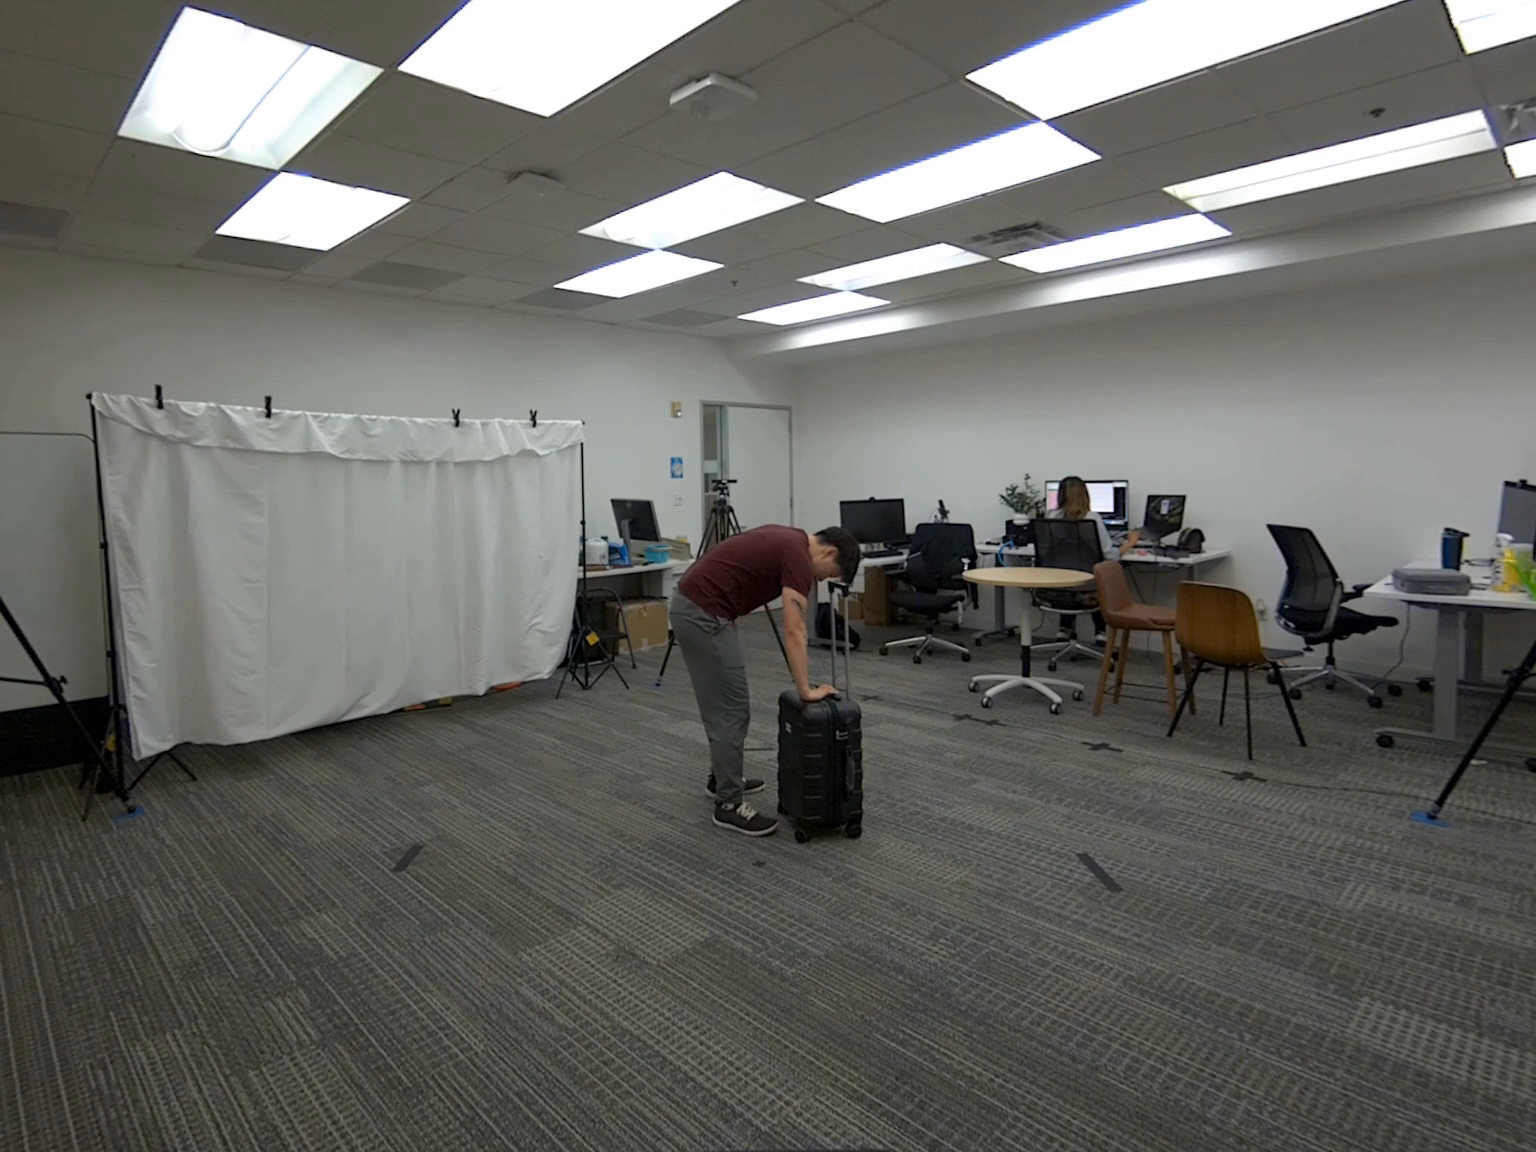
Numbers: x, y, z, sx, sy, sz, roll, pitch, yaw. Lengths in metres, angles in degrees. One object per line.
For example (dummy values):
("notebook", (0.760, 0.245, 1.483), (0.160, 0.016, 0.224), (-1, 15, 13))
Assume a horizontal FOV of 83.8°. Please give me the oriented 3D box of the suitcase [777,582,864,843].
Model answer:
("suitcase", (0.204, 0.537, 3.411), (0.254, 0.974, 0.390), (-3, 5, -14))
